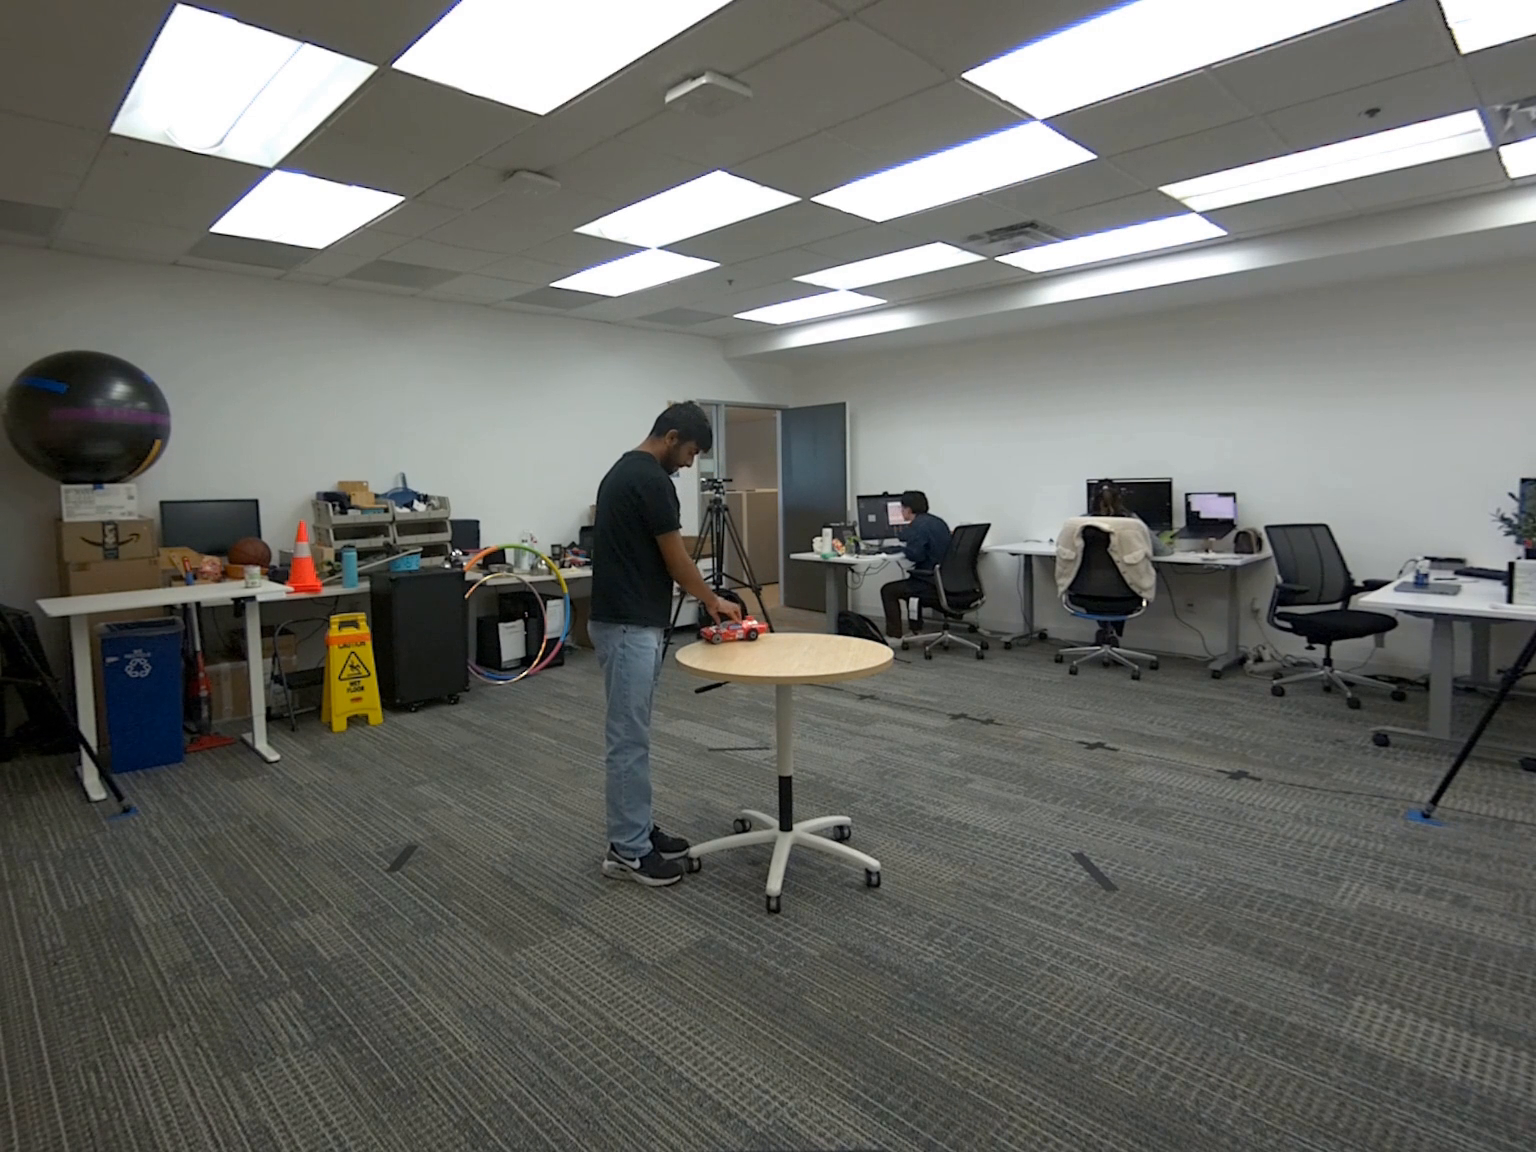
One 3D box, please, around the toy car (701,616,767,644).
[{"bbox_3d":[-0.127,0.213,3.266,0.251,0.082,0.133,-16,10,-19],"label":"toy car"}]
